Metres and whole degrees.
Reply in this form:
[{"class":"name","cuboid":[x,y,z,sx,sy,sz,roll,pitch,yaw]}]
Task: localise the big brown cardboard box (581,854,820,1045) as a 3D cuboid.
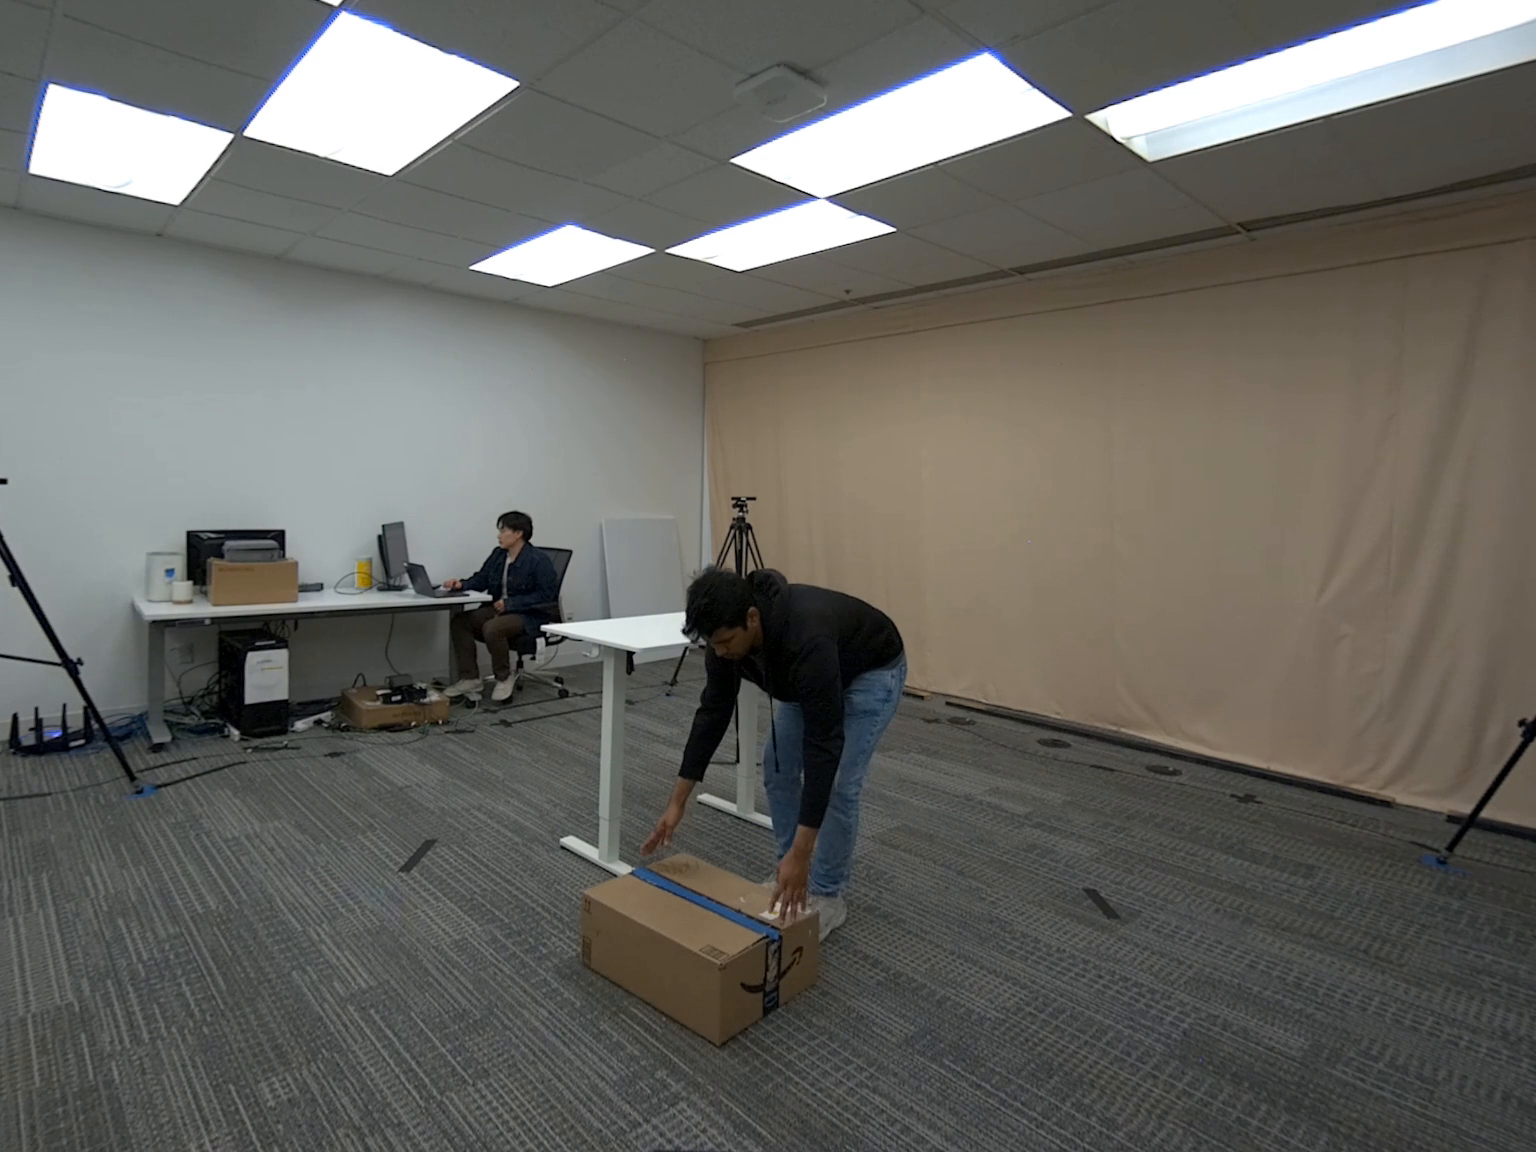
[{"class":"big brown cardboard box","cuboid":[-0.207,1.048,2.448,0.604,0.232,0.408,4,6,40]}]
